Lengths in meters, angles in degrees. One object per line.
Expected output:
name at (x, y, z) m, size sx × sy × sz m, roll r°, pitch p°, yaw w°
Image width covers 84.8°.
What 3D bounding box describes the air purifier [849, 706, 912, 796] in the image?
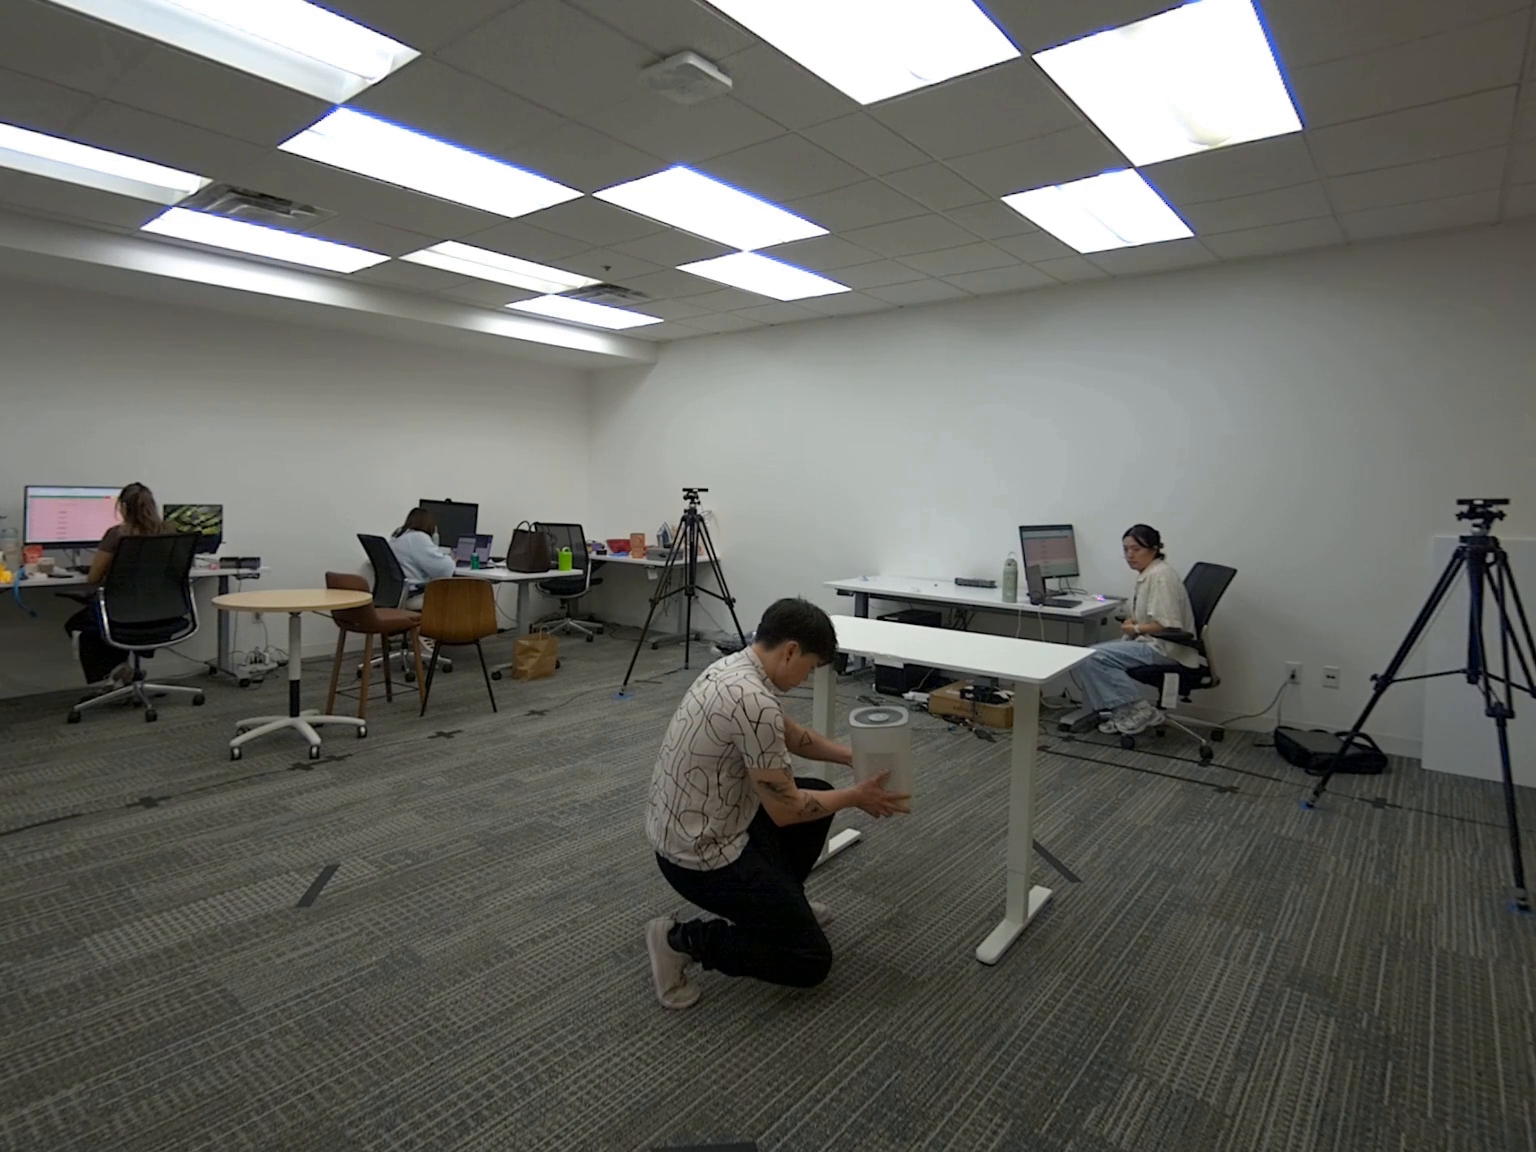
air purifier at (0.331, 0.531, 2.492) m, size 0.173 × 0.263 × 0.171 m, roll 0°, pitch 8°, yaw 7°
